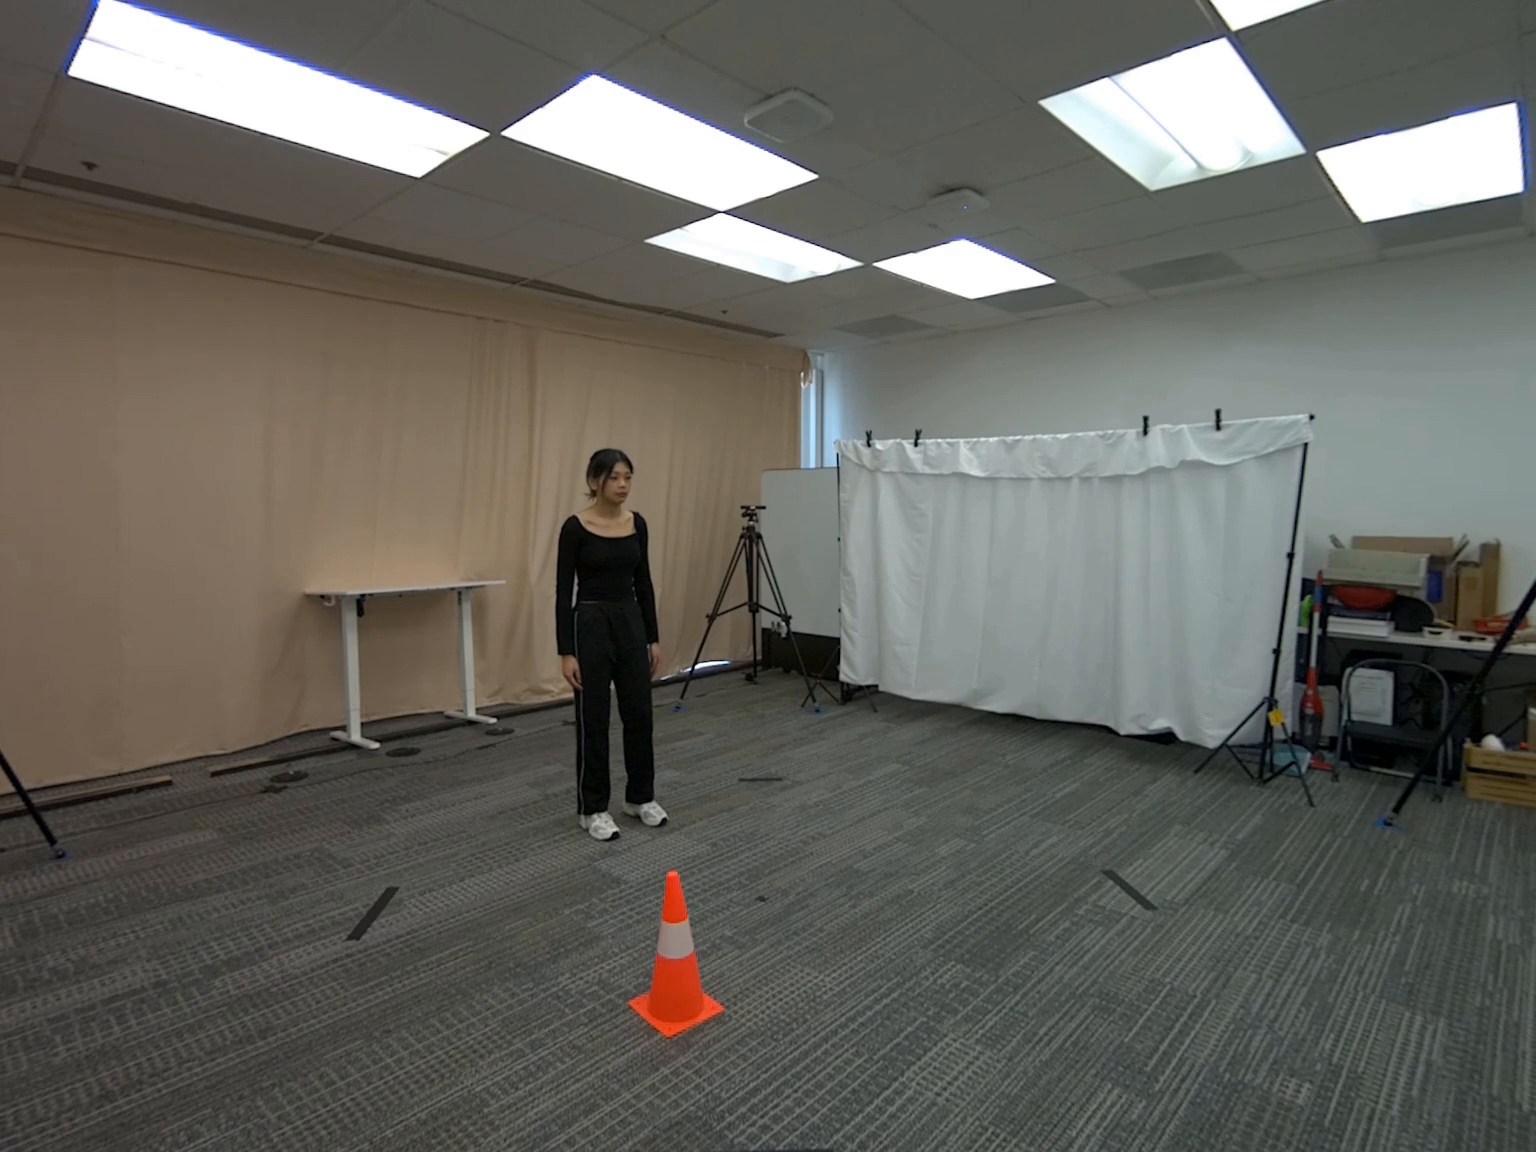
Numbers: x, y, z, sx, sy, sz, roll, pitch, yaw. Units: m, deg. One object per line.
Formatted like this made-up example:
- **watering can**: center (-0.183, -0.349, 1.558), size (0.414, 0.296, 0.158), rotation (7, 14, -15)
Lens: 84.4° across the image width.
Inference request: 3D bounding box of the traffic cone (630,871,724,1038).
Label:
- **traffic cone**: center (-0.258, 1.017, 2.327), size (0.197, 0.383, 0.212), rotation (-3, 4, -41)
